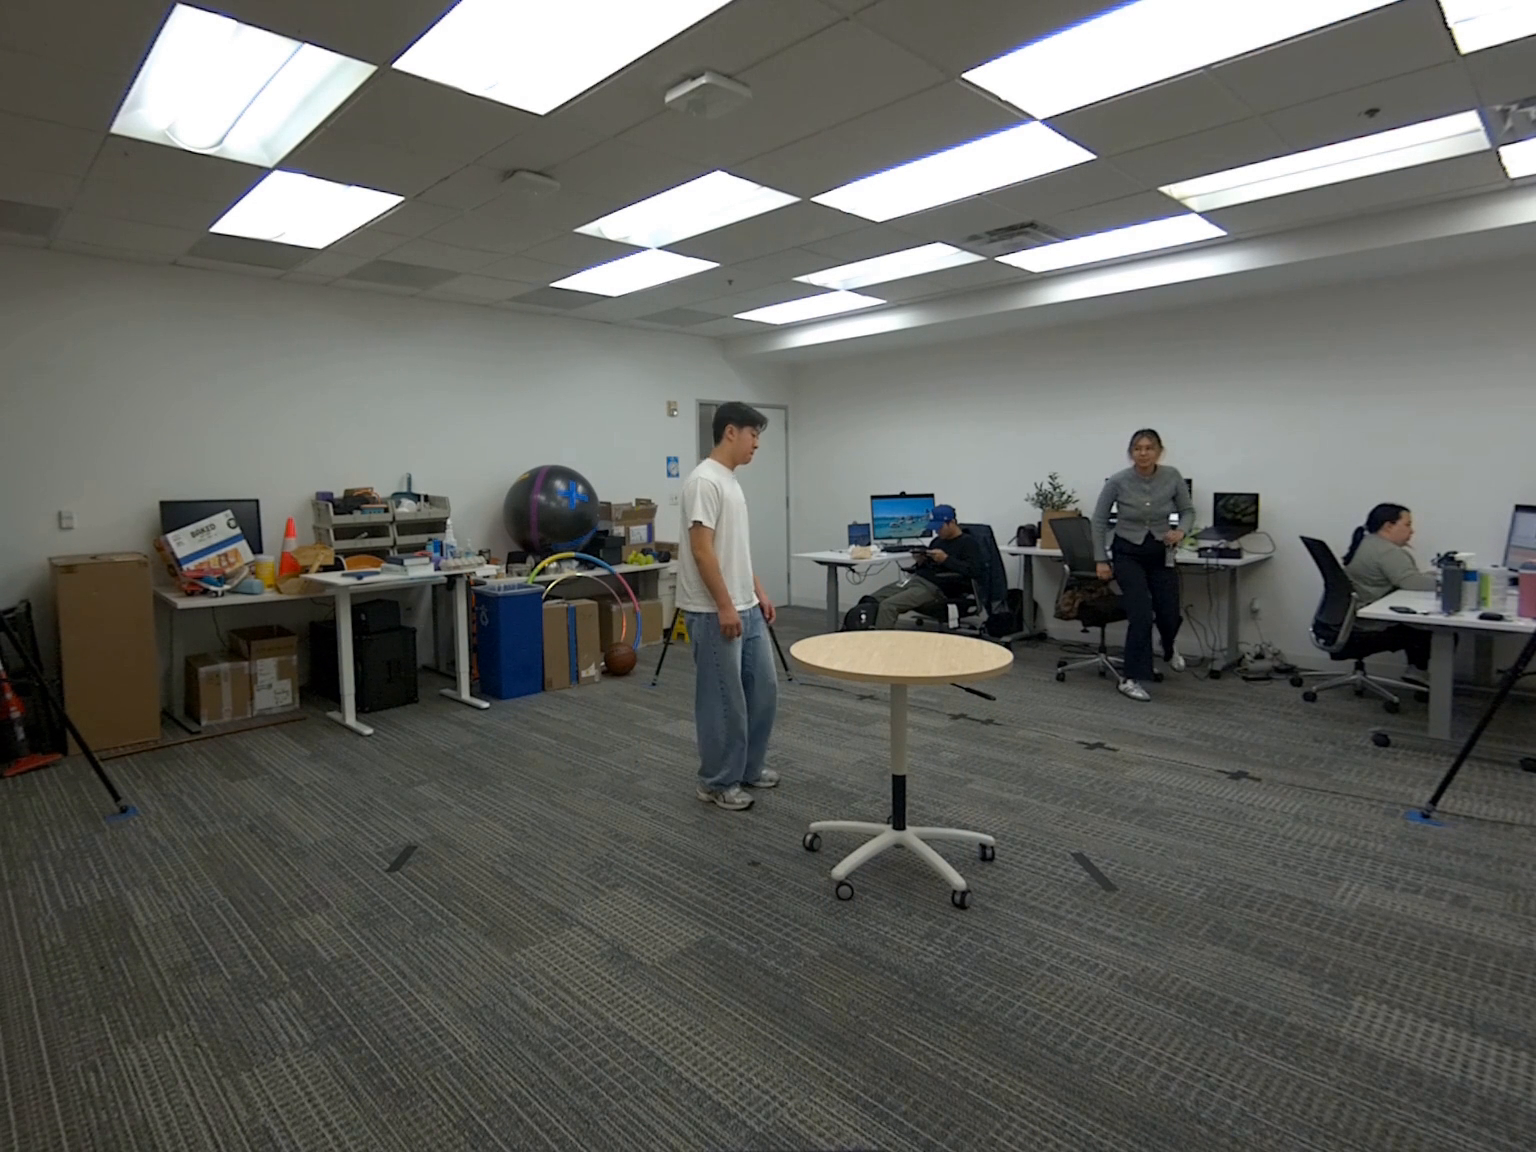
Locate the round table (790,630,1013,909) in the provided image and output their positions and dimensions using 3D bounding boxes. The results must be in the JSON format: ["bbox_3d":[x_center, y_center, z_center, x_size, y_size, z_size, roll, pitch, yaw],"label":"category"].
[{"bbox_3d":[0.469,0.653,3.022,0.784,0.783,0.789,-1,5,-2],"label":"round table"}]
